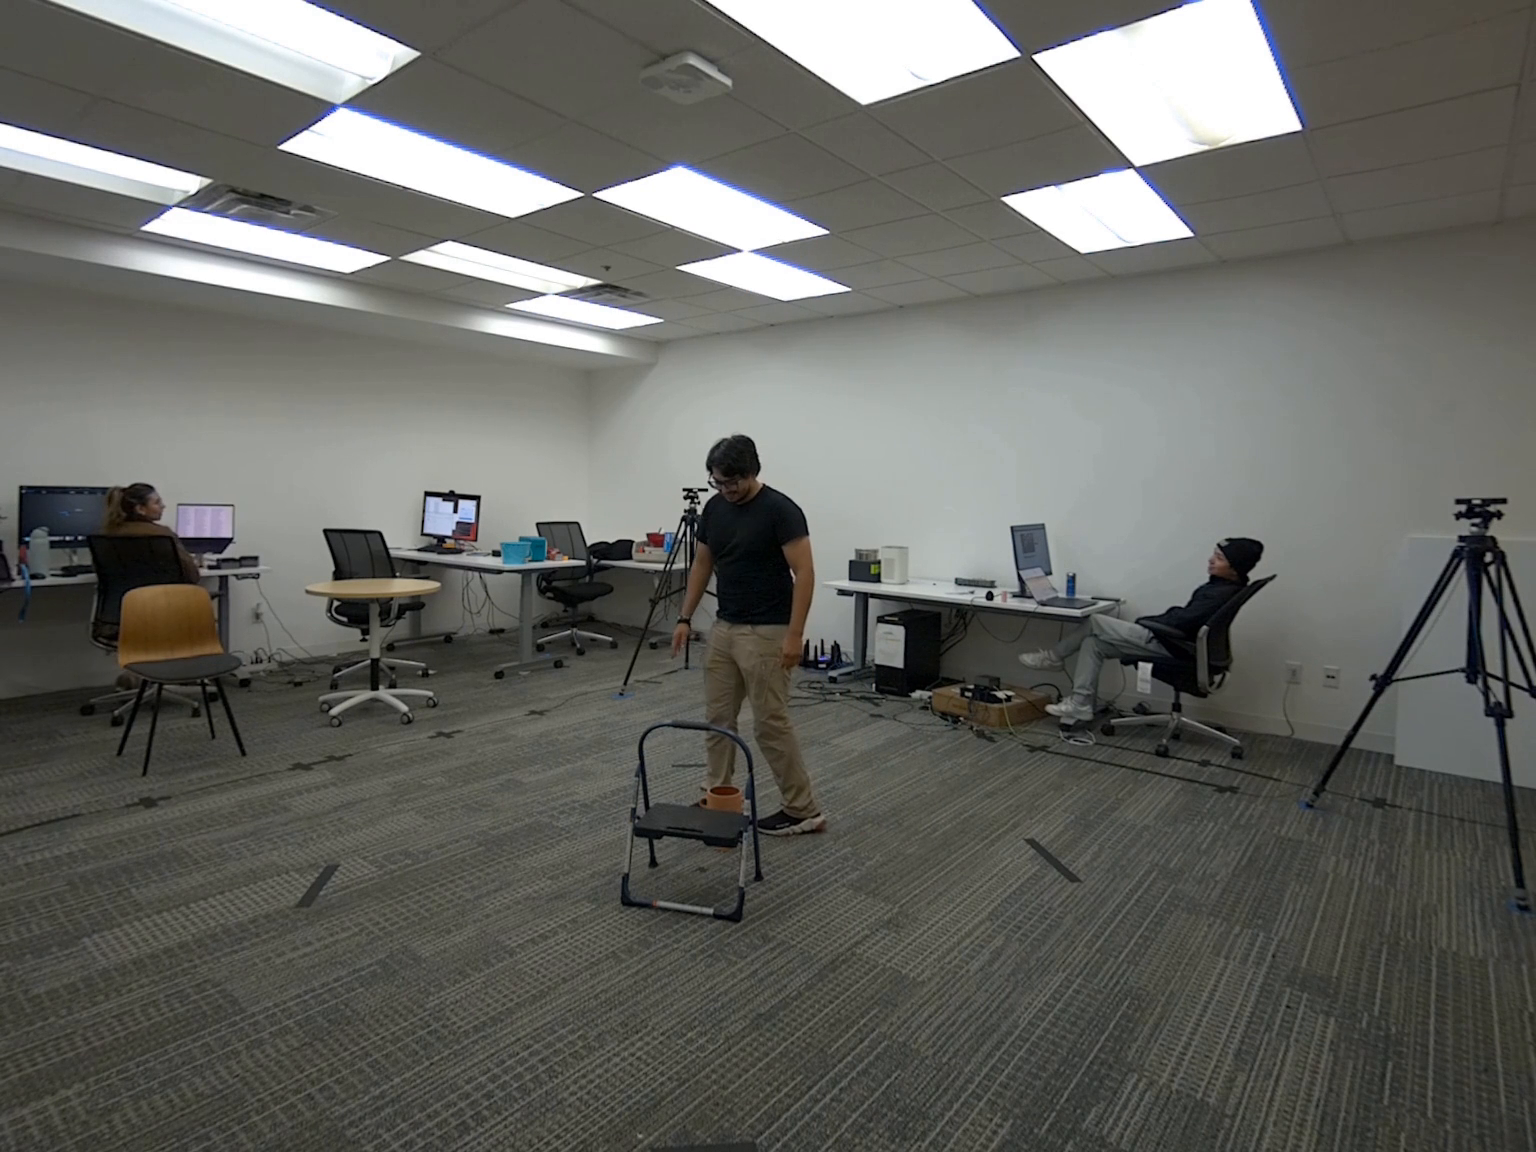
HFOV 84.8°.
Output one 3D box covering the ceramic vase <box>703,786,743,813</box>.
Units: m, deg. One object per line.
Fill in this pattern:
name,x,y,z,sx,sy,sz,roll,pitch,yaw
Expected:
ceramic vase,-0.174,0.933,3.306,0.164,0.219,0.130,5,5,45
